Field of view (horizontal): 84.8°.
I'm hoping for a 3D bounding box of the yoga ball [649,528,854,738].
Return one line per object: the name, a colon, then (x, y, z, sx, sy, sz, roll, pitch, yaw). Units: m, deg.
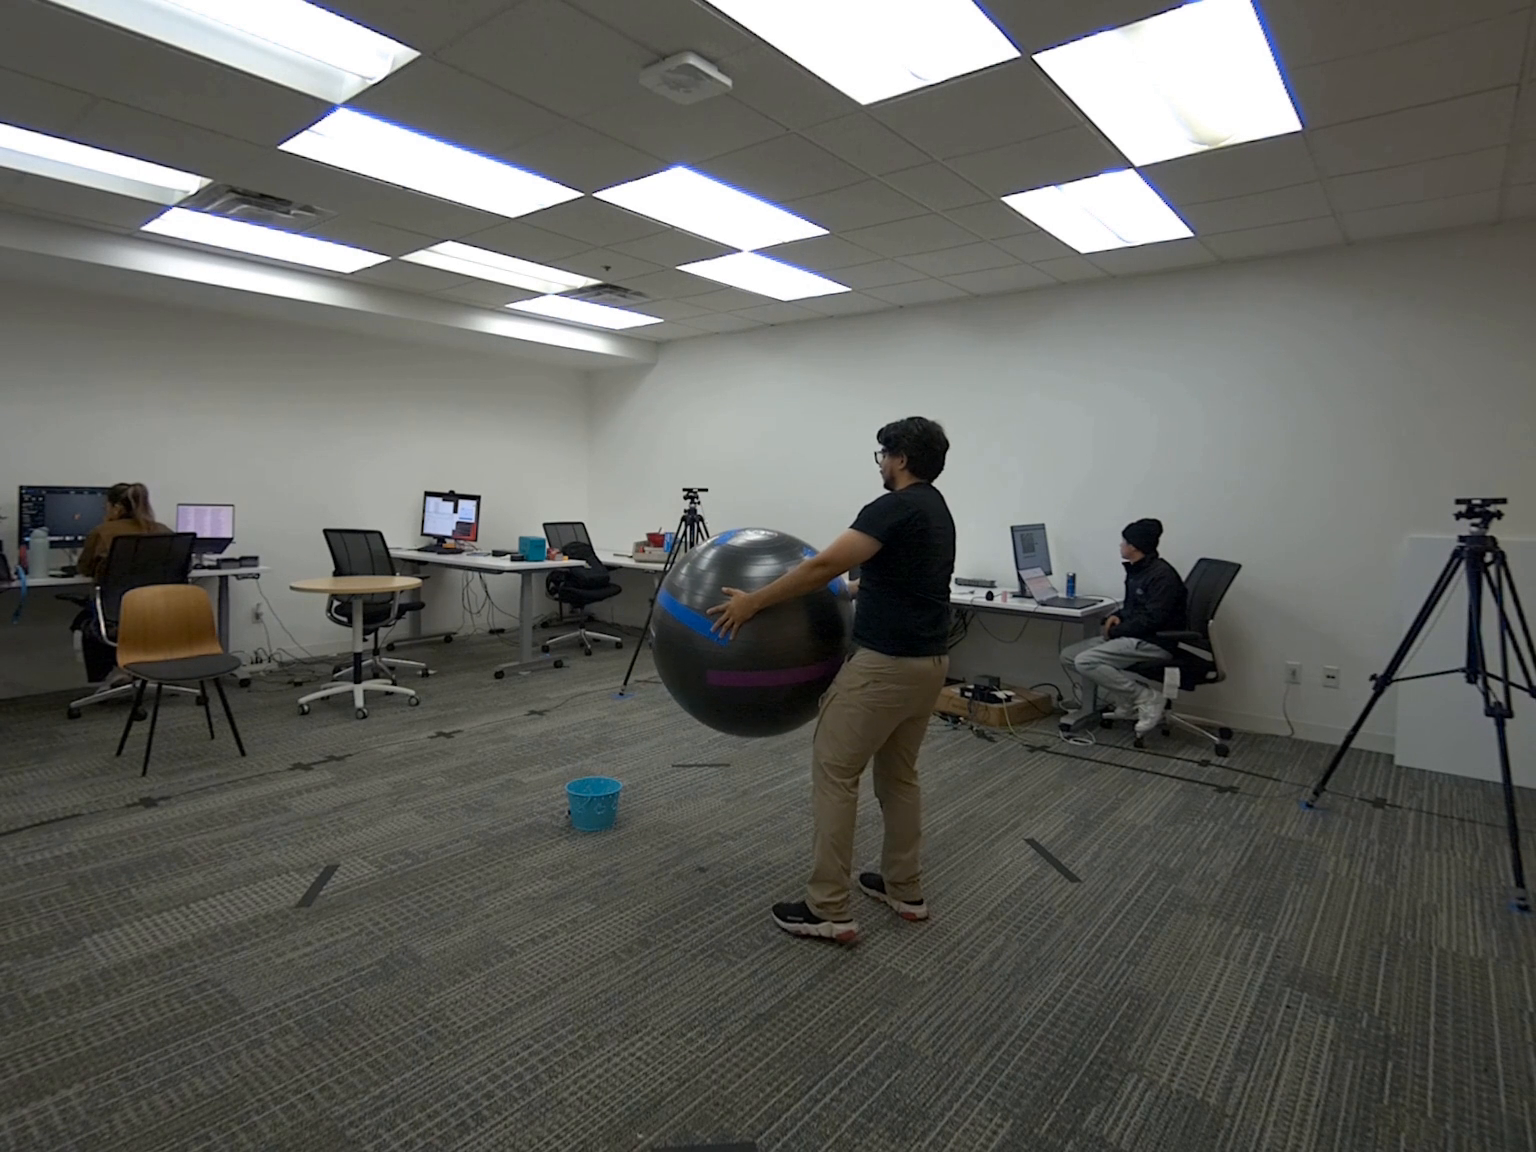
yoga ball: (-0.067, 0.211, 3.119, 0.757, 0.756, 0.761, 1, 4, -2)
